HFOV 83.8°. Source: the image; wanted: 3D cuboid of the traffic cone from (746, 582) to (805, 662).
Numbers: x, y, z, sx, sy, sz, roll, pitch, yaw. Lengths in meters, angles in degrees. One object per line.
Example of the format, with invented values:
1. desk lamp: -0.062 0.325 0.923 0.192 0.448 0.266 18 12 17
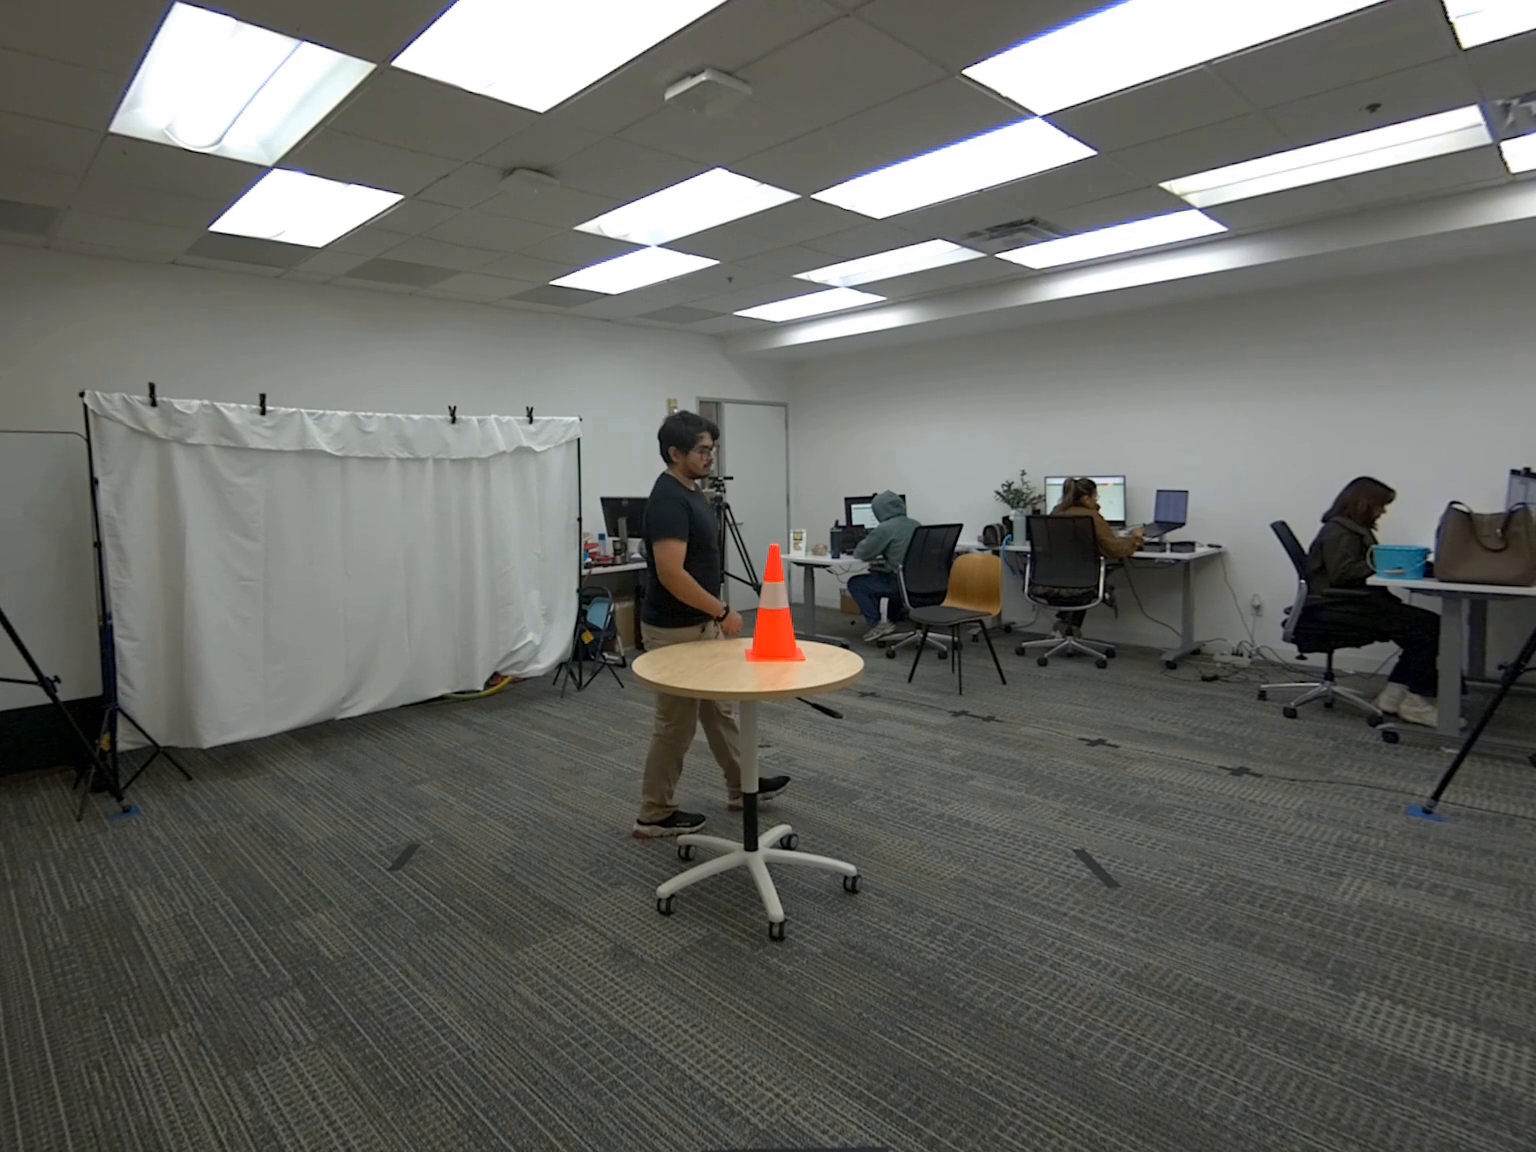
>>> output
1. traffic cone: 0.024 0.087 2.914 0.203 0.382 0.206 -2 5 -2
